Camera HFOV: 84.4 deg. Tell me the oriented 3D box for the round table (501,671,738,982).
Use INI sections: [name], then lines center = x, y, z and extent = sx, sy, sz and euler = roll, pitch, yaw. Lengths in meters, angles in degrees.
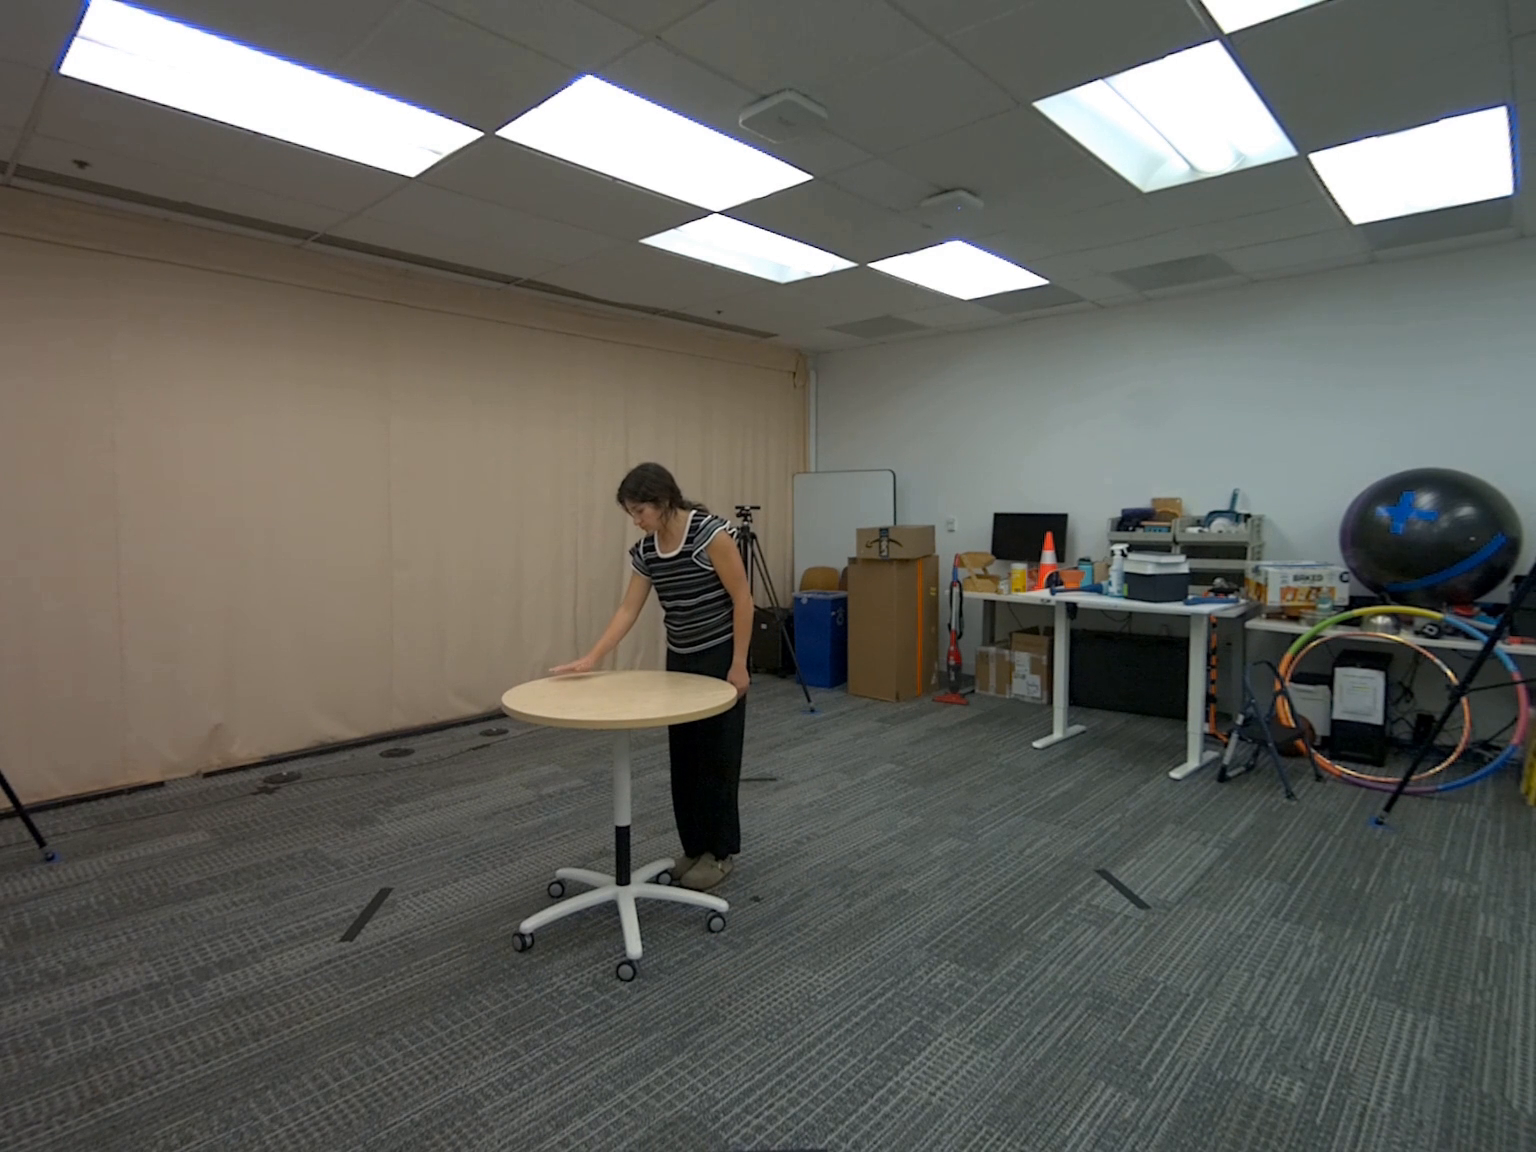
[round table]
center = -0.487, 0.778, 2.781
extent = 0.763, 0.792, 0.766
euler = -1, 3, -2
